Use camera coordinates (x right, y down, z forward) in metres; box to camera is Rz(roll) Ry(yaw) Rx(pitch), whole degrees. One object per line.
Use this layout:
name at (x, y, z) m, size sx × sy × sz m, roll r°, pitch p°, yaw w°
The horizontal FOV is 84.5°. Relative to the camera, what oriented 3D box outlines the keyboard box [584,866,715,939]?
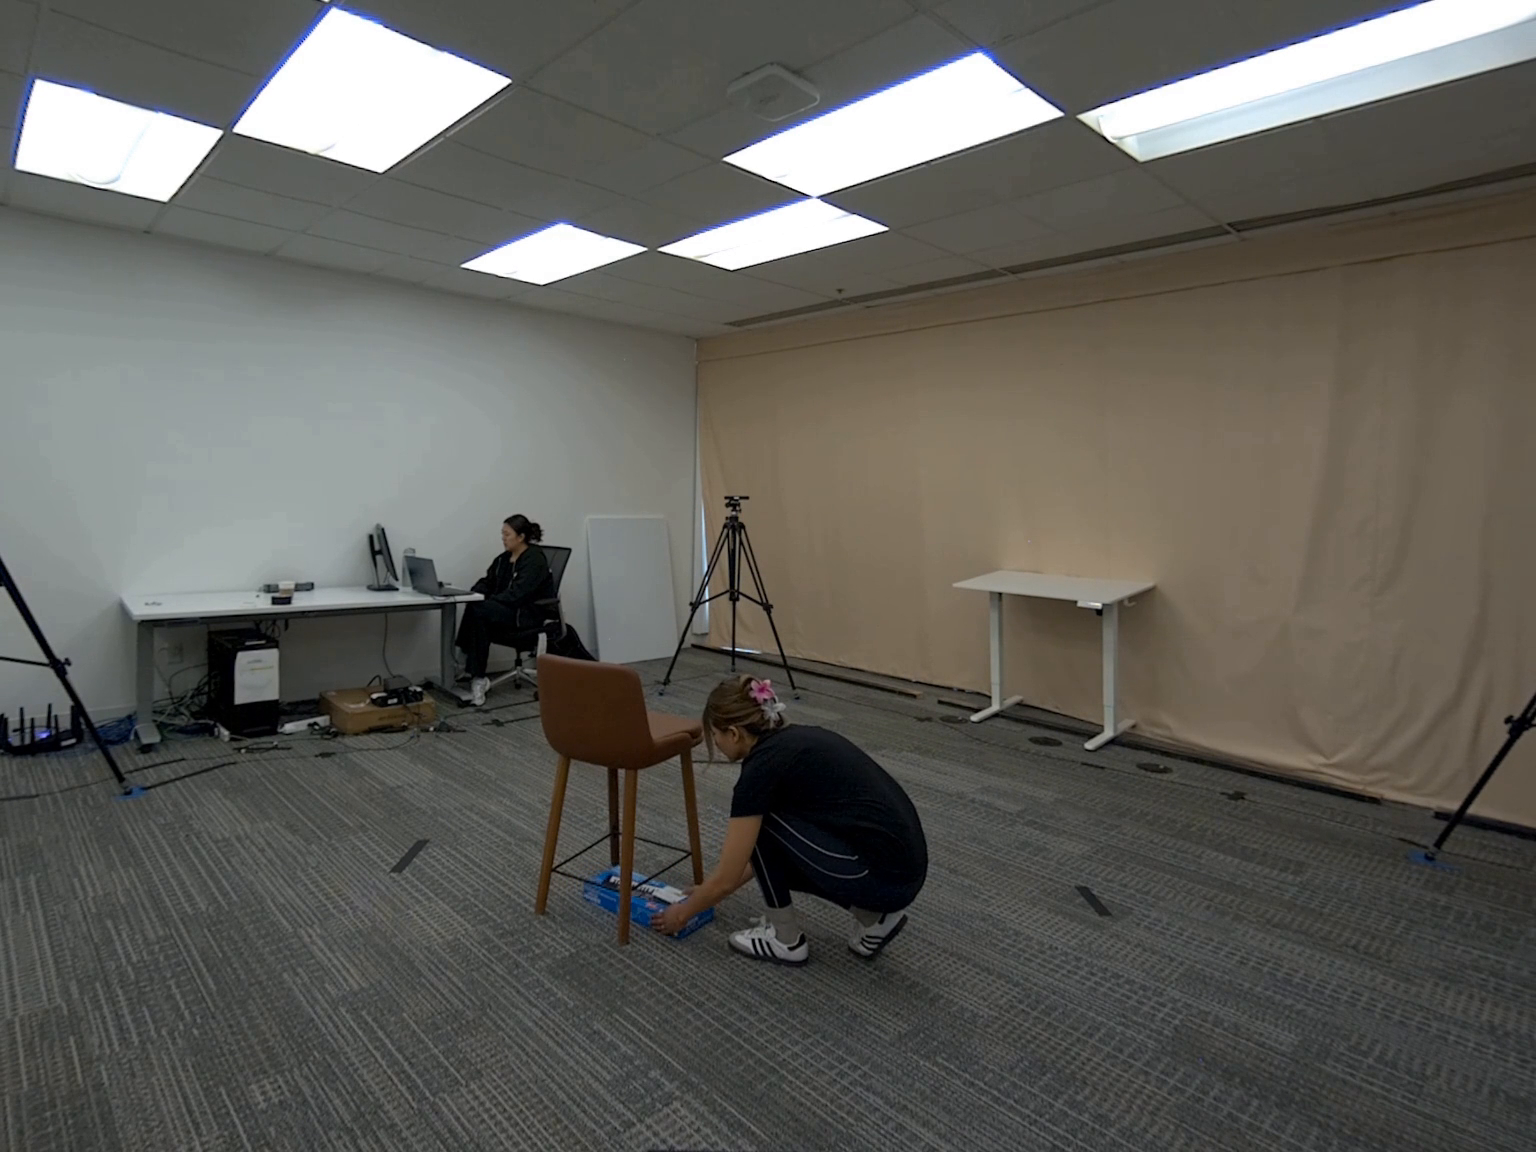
keyboard box at (-0.416, 1.101, 2.838) m, size 0.447 × 0.059 × 0.172 m, roll 5°, pitch 8°, yaw 34°
